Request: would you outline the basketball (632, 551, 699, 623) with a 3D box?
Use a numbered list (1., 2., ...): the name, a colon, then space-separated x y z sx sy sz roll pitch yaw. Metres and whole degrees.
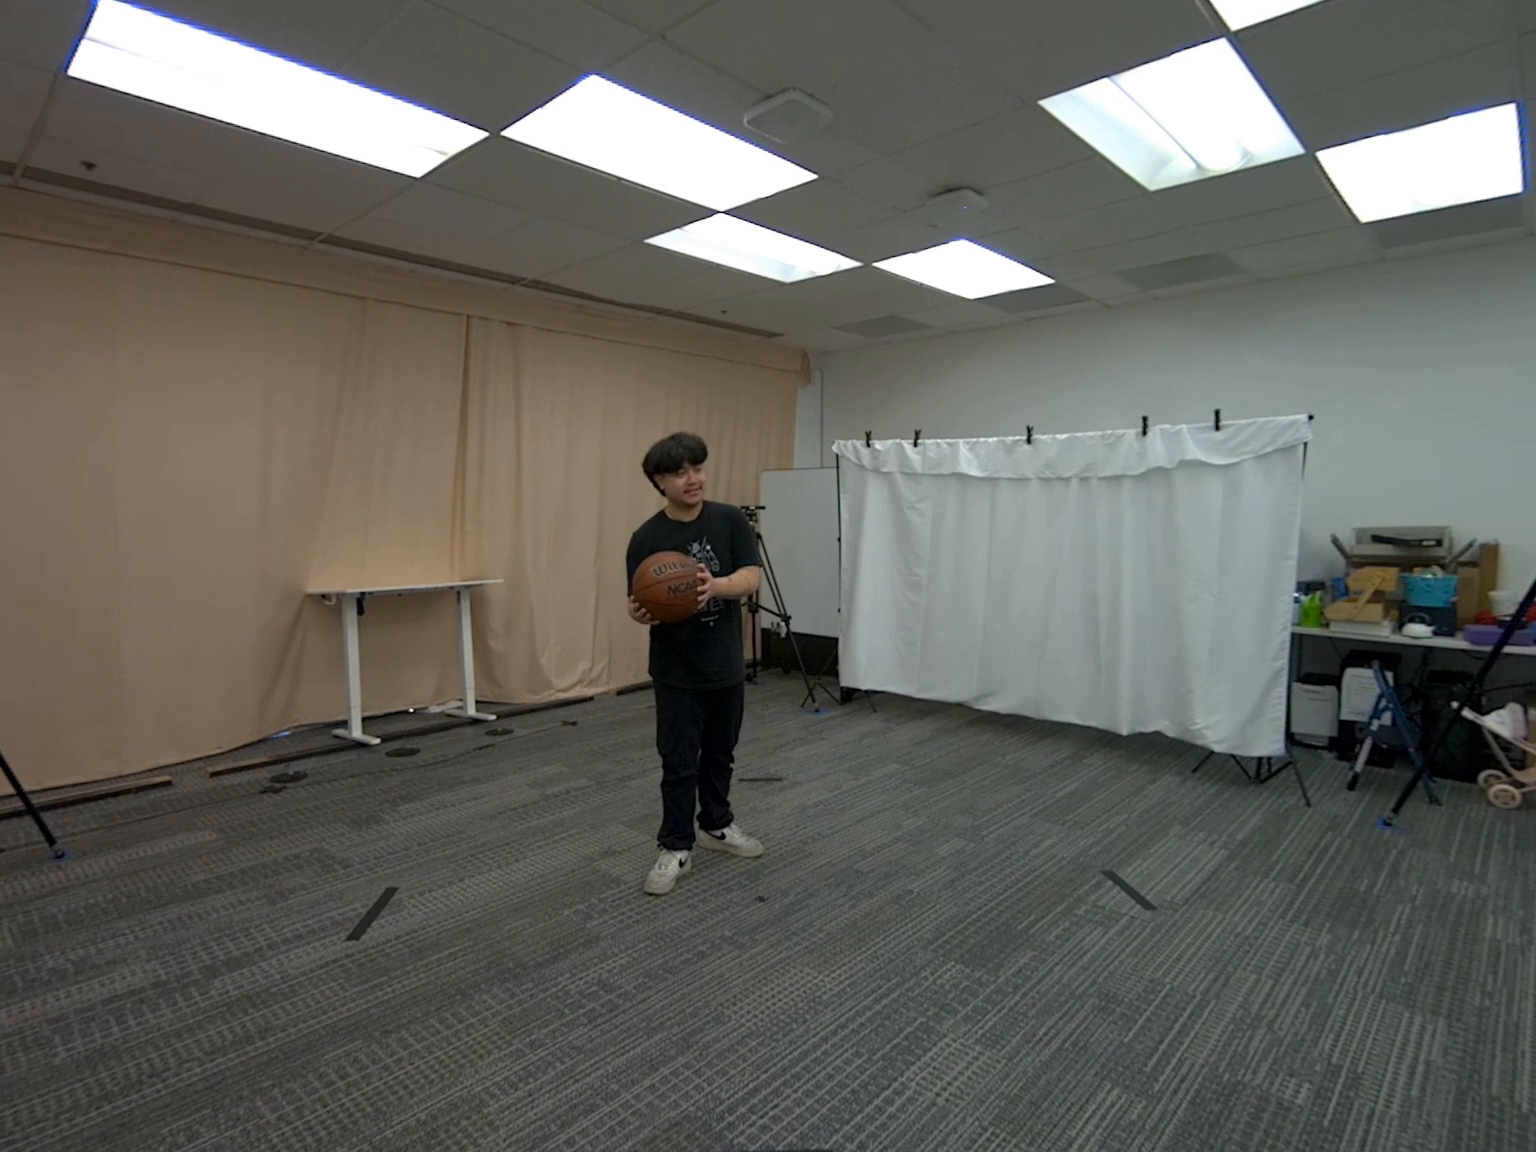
1. basketball: -0.333 0.035 2.816 0.236 0.235 0.237 0 4 -2
